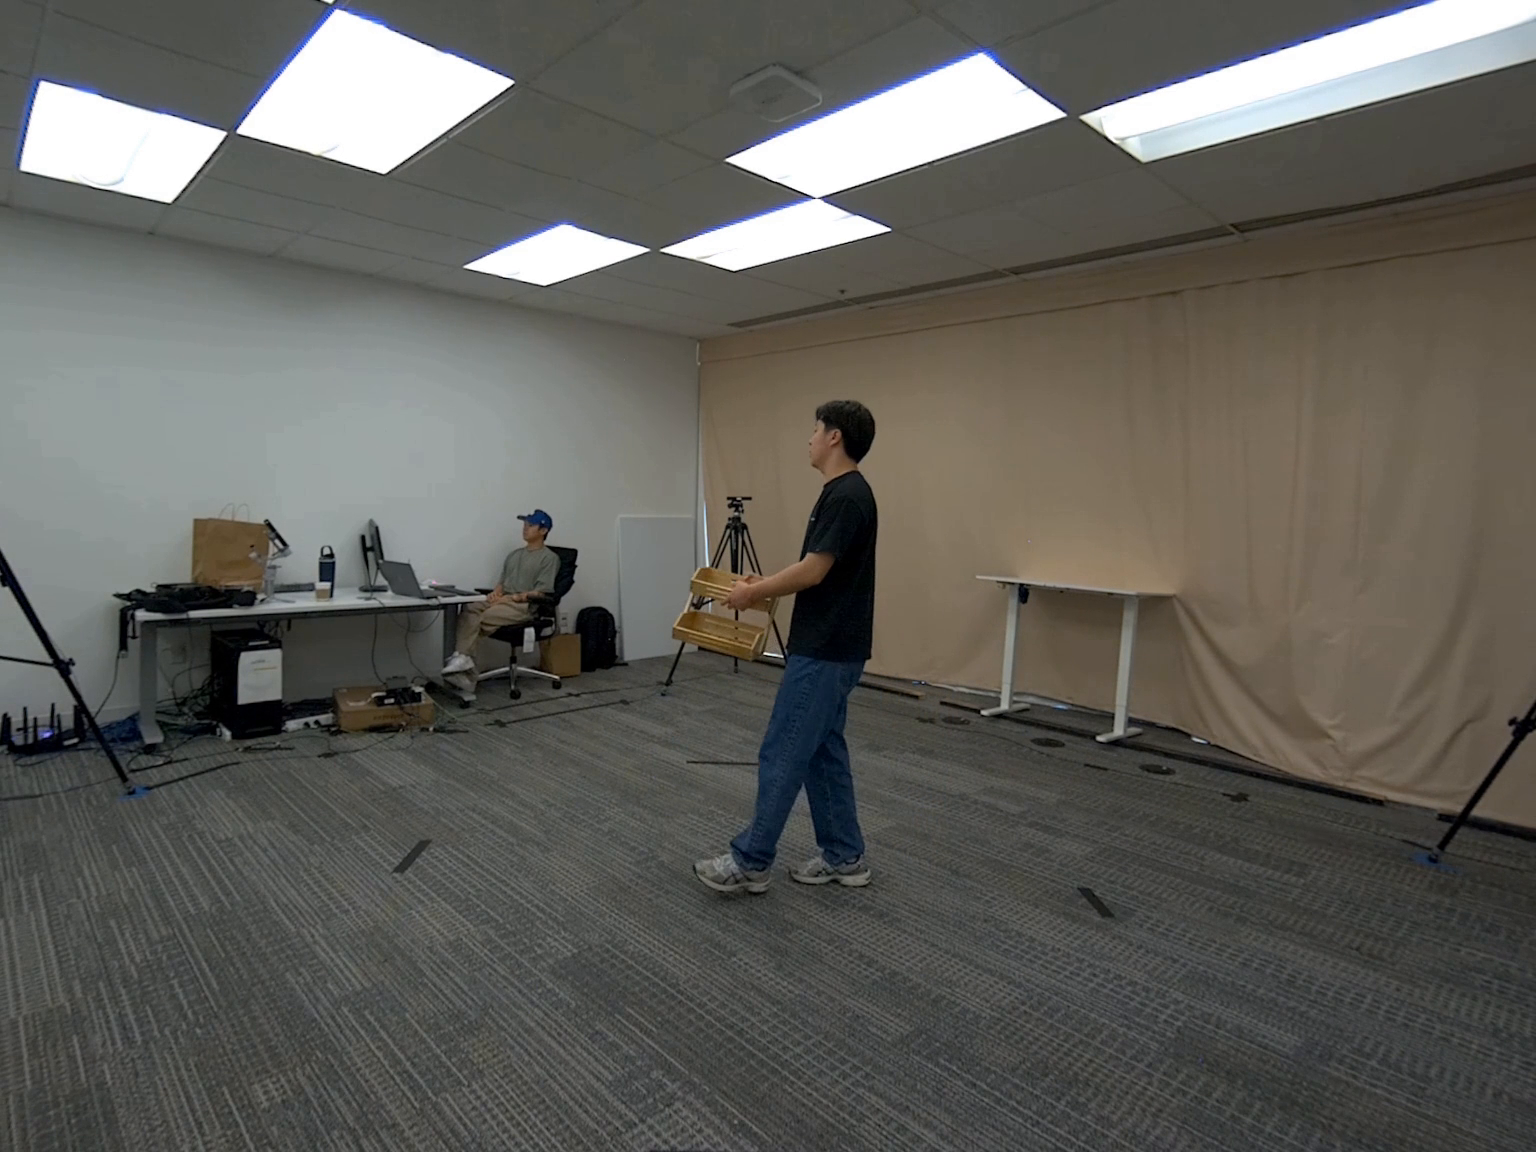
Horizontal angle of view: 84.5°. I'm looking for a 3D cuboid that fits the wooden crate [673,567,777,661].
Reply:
[{"bbox_3d":[-0.150,0.133,3.092,0.328,0.273,0.299,14,4,13],"label":"wooden crate"}]
